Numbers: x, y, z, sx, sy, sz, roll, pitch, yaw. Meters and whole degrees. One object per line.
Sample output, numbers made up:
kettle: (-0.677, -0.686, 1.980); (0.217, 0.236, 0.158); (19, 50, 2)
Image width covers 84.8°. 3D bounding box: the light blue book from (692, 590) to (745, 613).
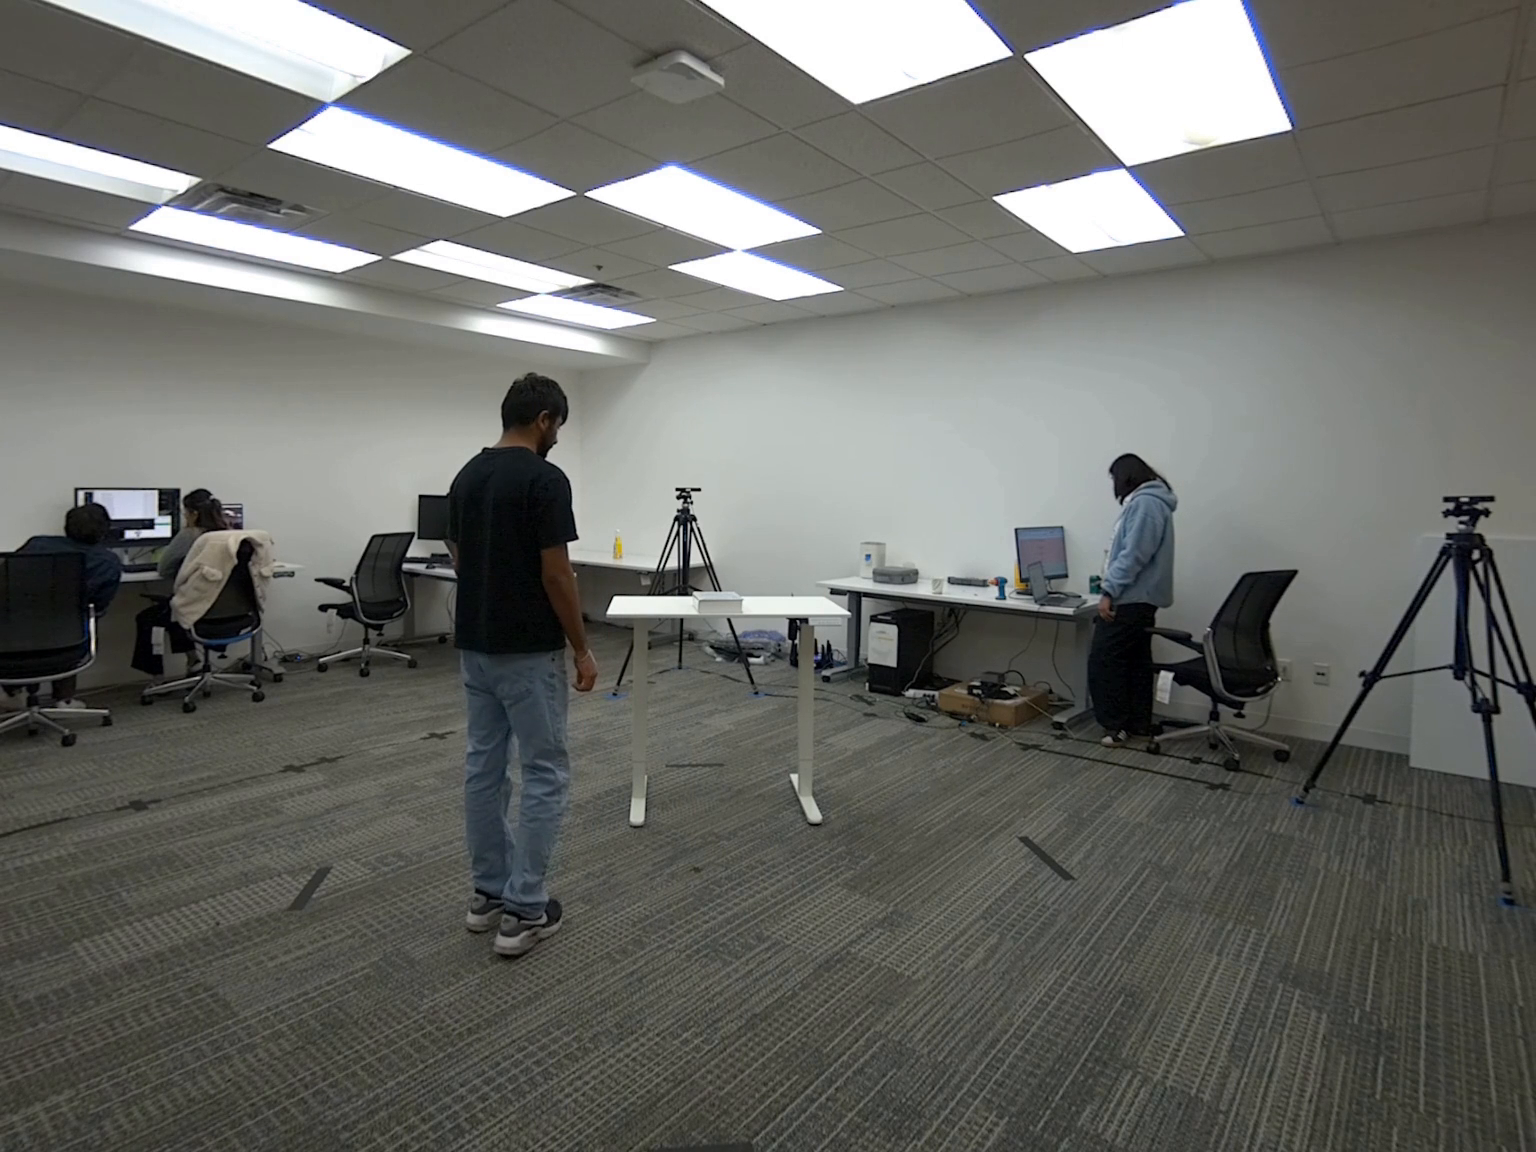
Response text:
light blue book: (-0.219, 0.107, 3.612); (0.190, 0.059, 0.264); (-1, 5, -9)
